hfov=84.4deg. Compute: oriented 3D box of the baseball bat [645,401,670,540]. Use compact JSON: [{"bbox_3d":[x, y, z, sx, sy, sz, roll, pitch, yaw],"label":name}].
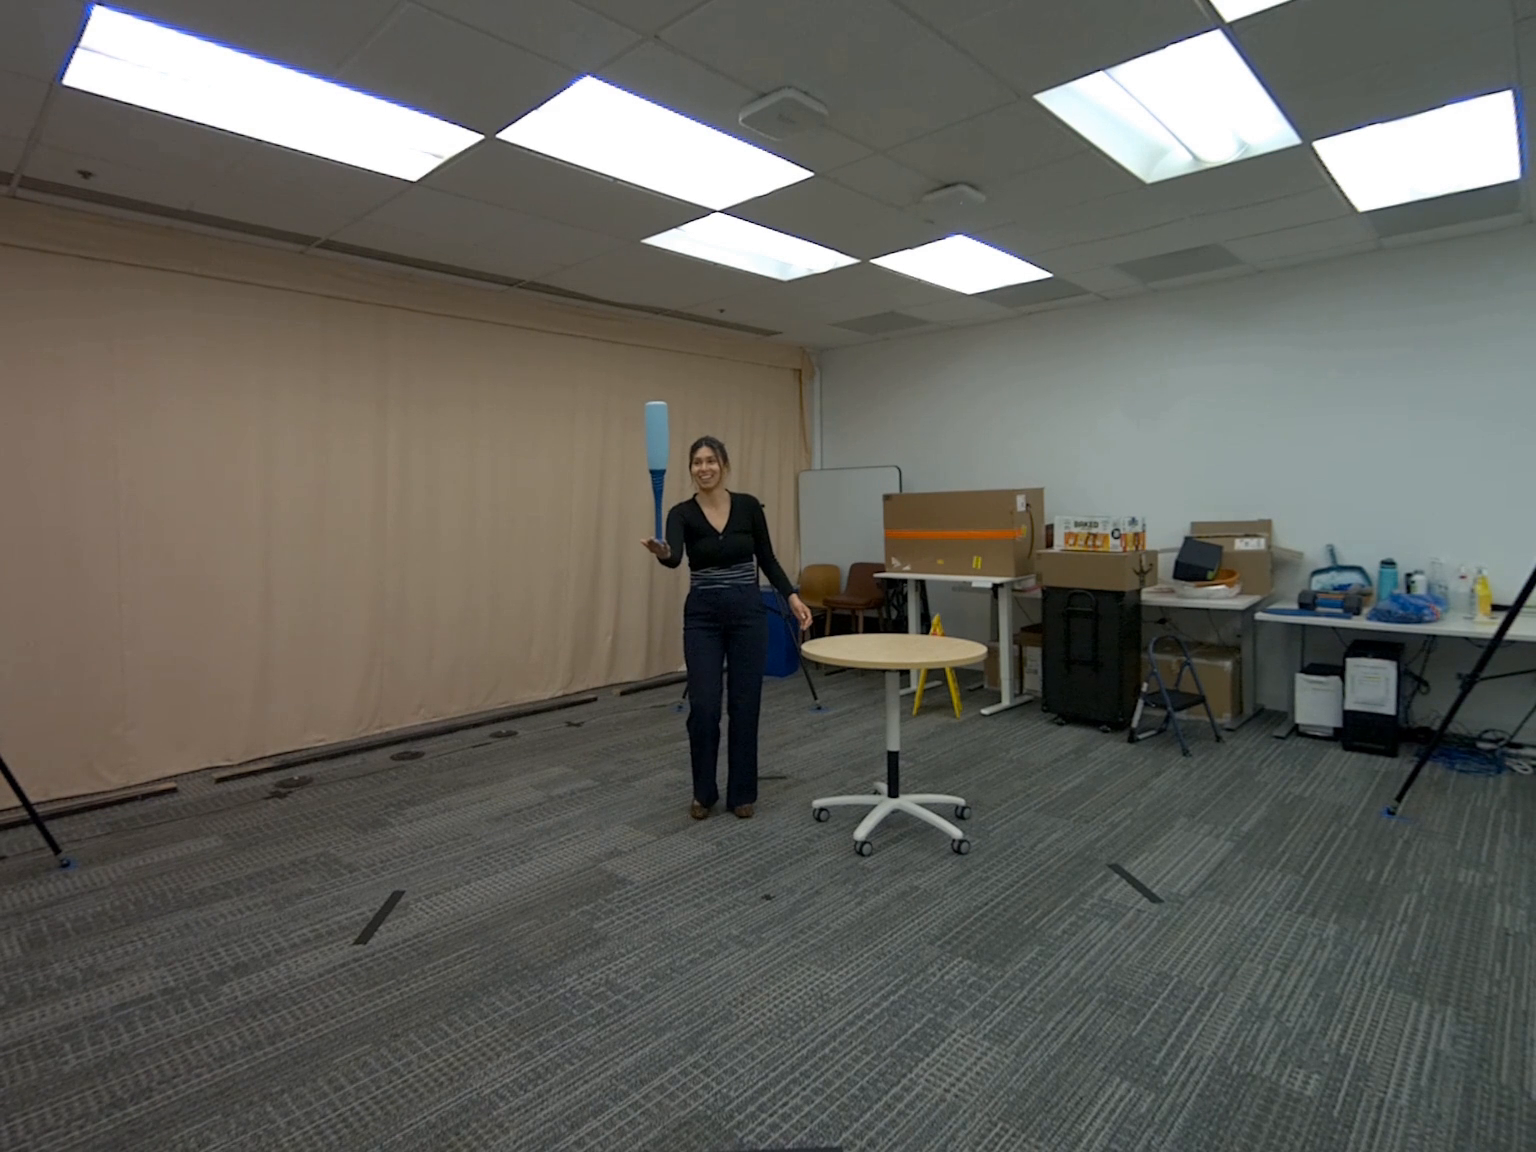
[{"bbox_3d":[-0.416,-0.384,3.181,0.089,0.541,0.089,-1,6,-2],"label":"baseball bat"}]
